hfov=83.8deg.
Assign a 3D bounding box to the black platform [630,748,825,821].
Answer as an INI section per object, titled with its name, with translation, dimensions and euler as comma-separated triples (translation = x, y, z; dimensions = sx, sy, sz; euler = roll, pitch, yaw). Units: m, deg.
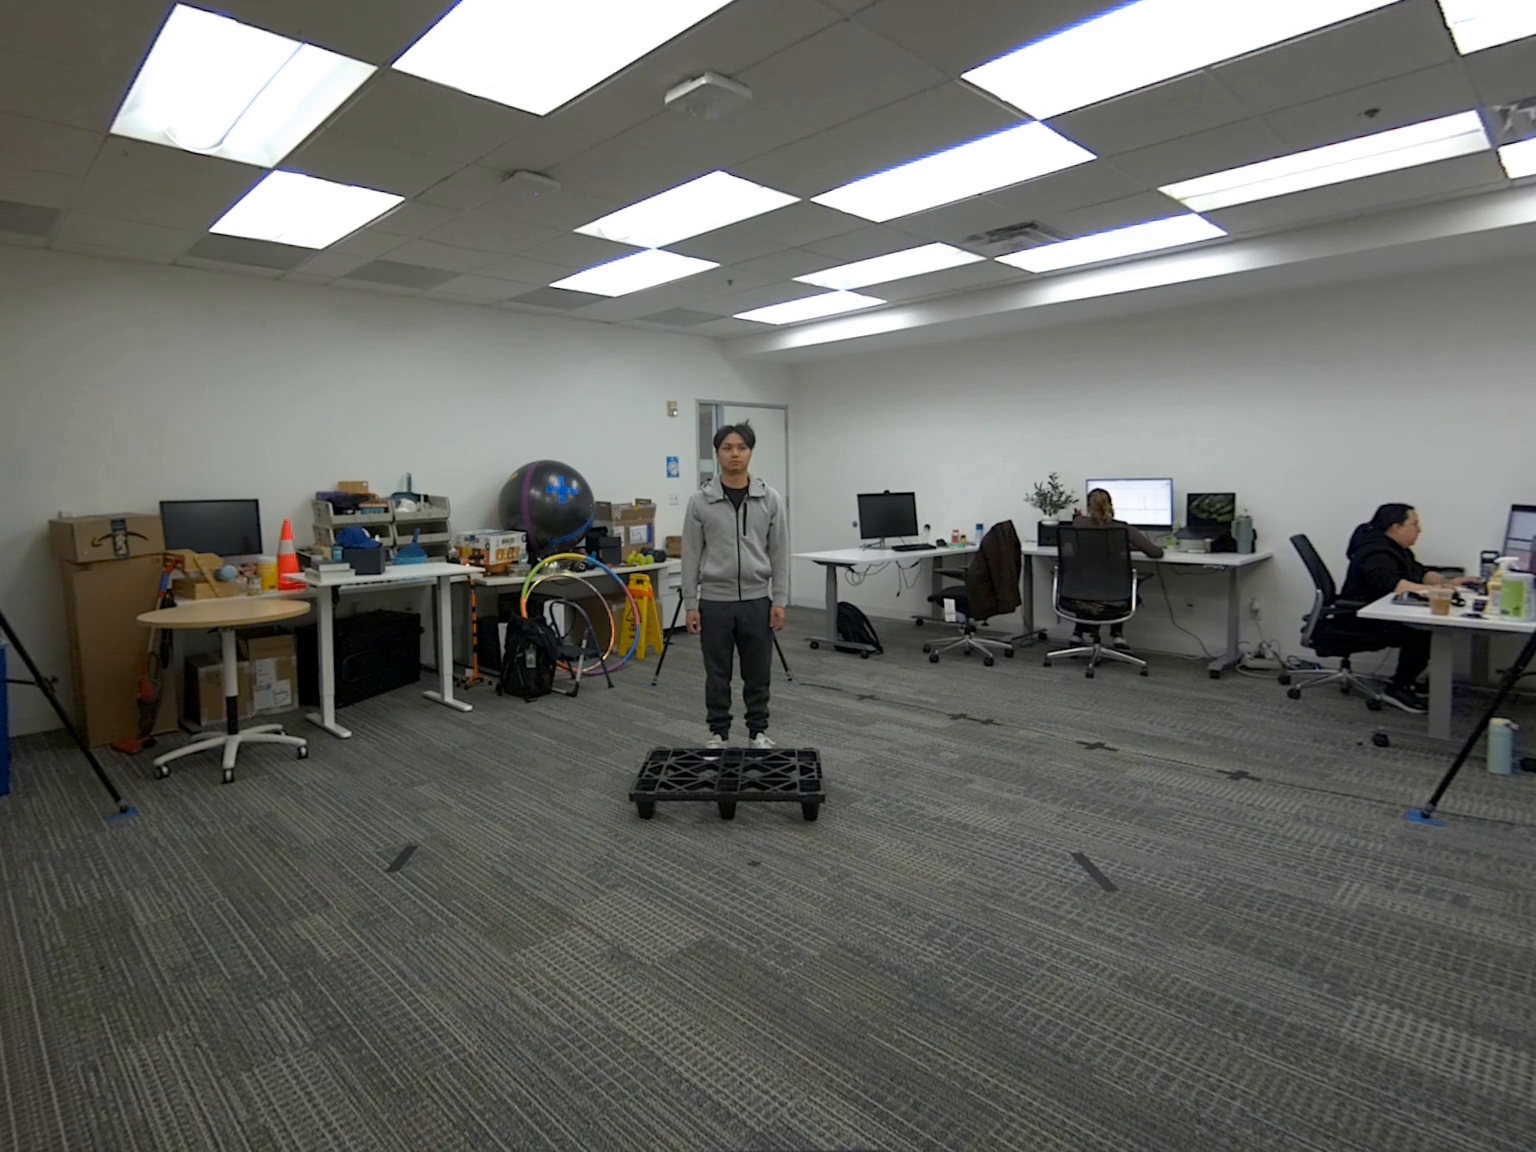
[black platform]
translation = -0.159, 0.906, 3.735
dimensions = 0.809, 0.142, 0.606
euler = -1, 7, 3
